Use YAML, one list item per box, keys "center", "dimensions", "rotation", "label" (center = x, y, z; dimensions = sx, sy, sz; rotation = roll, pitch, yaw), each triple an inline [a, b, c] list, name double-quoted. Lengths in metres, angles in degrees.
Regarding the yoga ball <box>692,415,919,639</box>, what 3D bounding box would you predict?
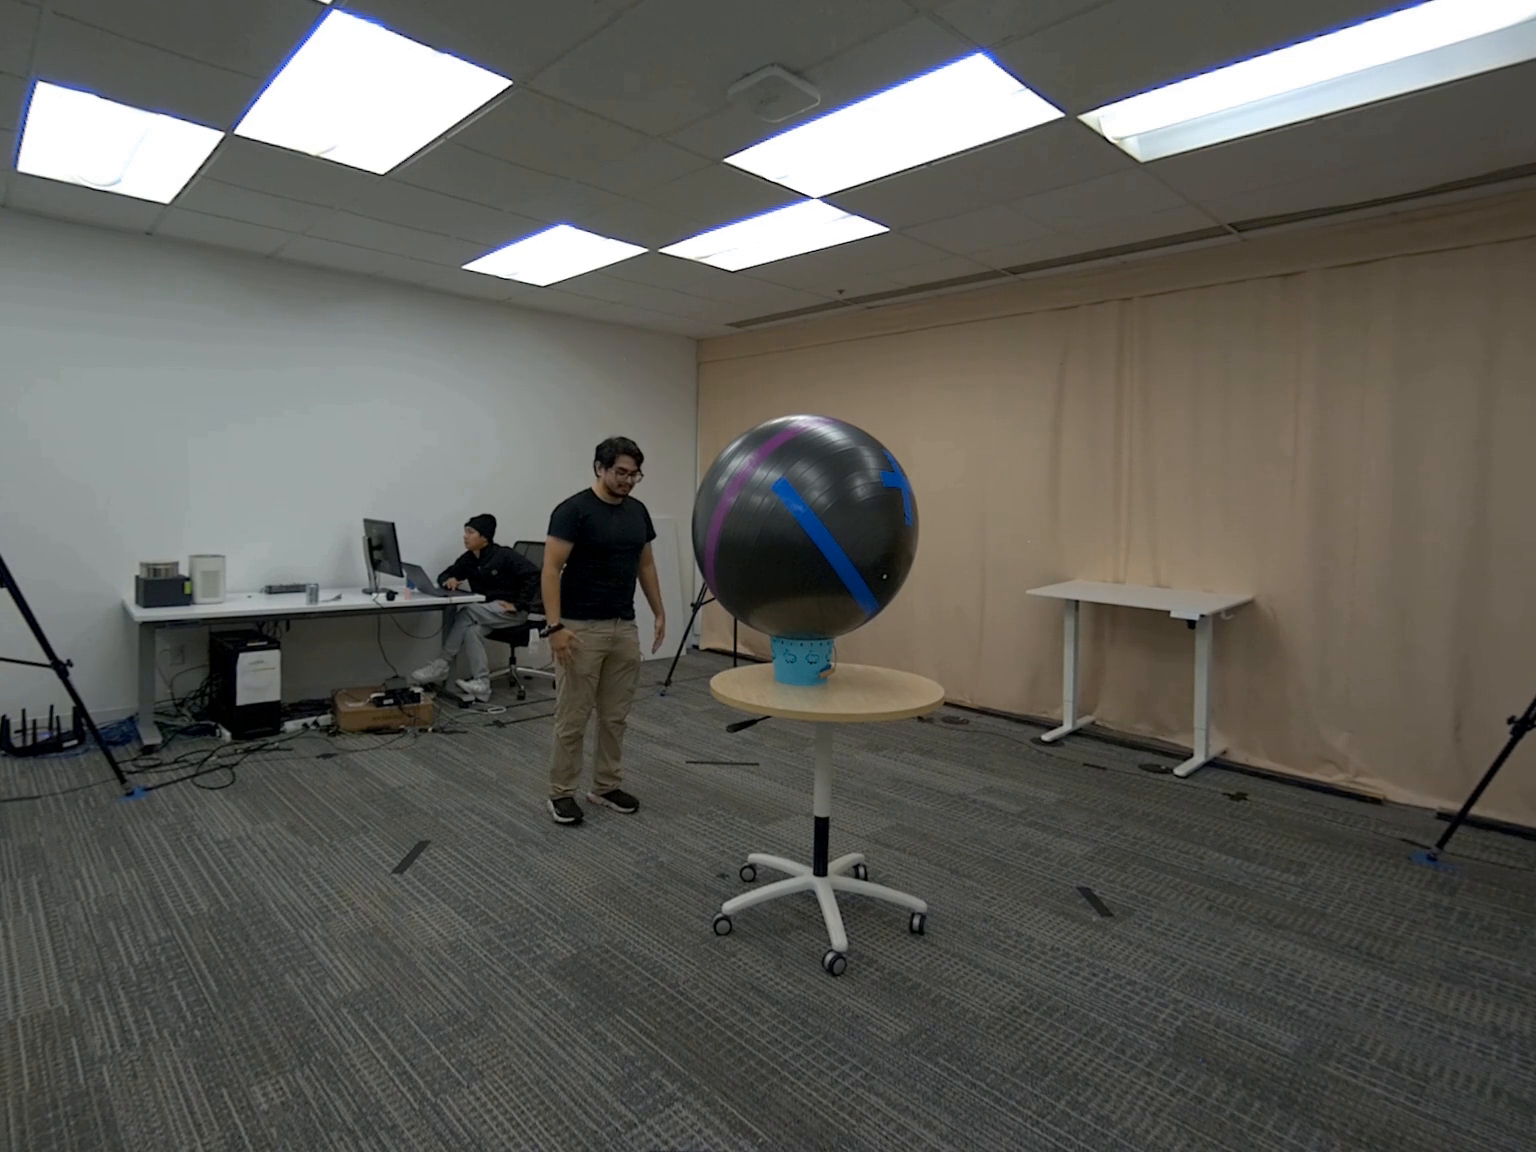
- center: [0.116, -0.156, 2.840]
  dimensions: [0.757, 0.756, 0.761]
  rotation: [1, 4, -1]
  label: "yoga ball"
